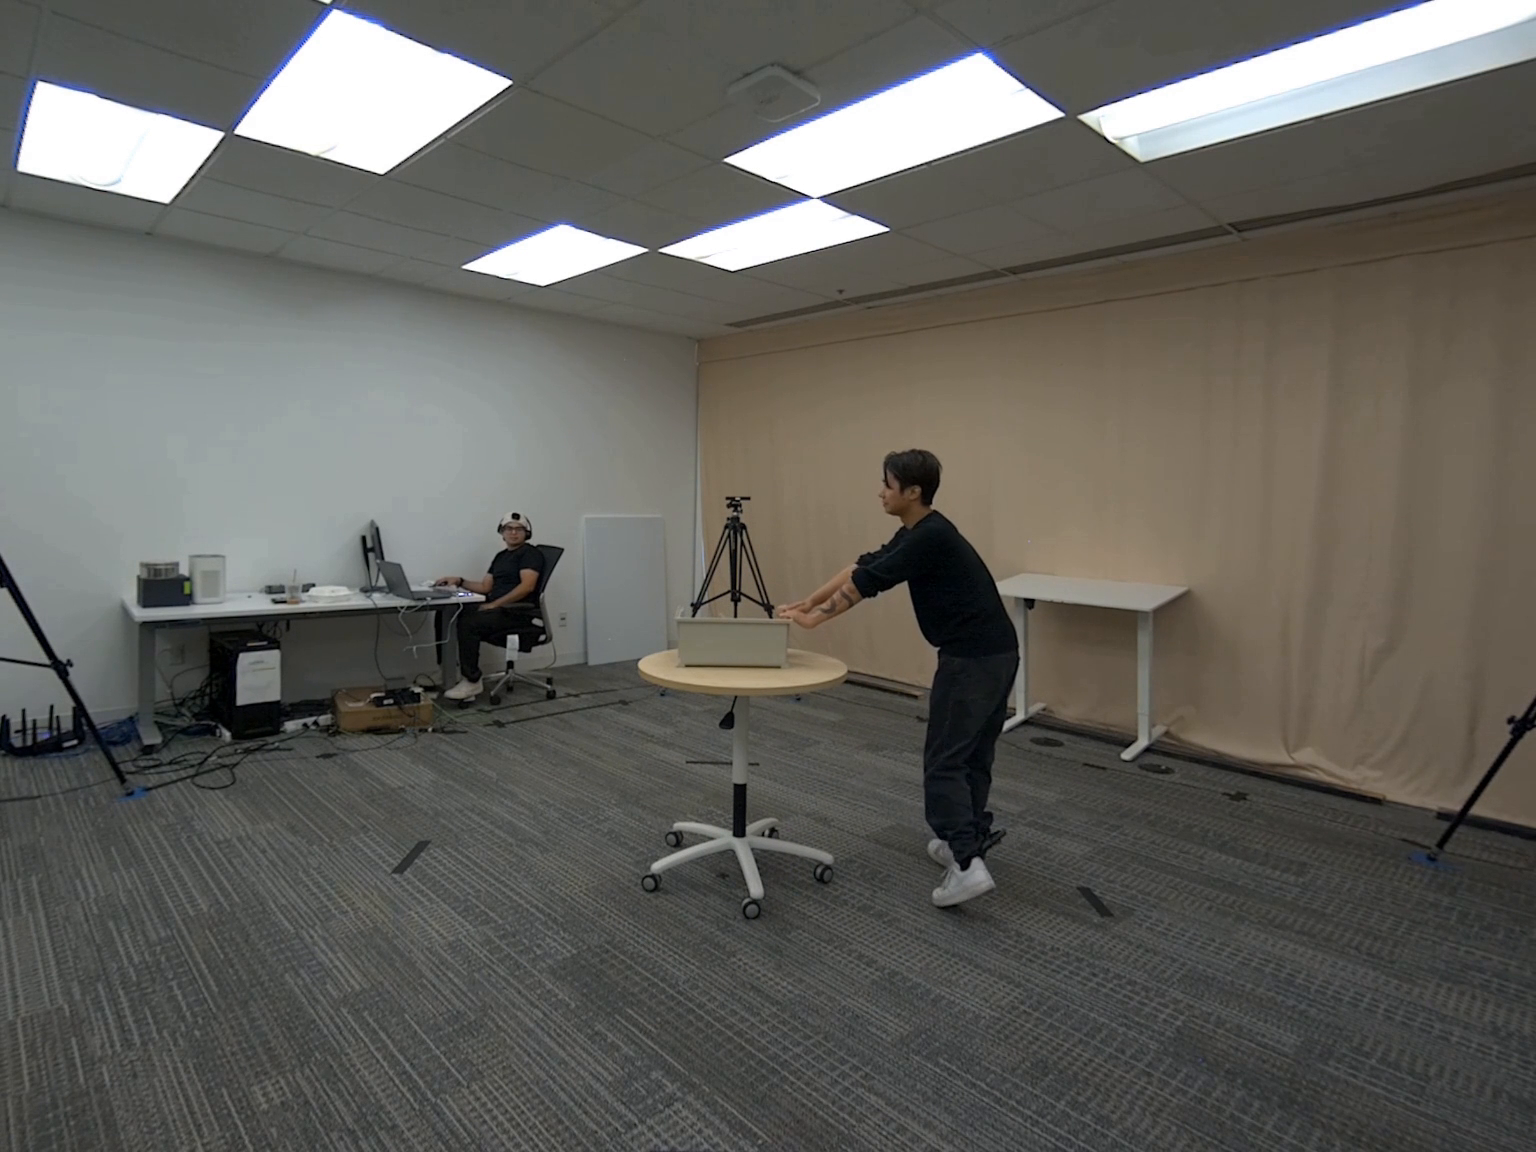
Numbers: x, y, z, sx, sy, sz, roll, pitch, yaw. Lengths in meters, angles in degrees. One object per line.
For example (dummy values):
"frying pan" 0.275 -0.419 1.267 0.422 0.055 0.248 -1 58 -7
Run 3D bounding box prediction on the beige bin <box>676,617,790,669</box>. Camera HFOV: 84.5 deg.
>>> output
"beige bin" -0.142 0.224 3.196 0.422 0.188 0.379 2 6 0
